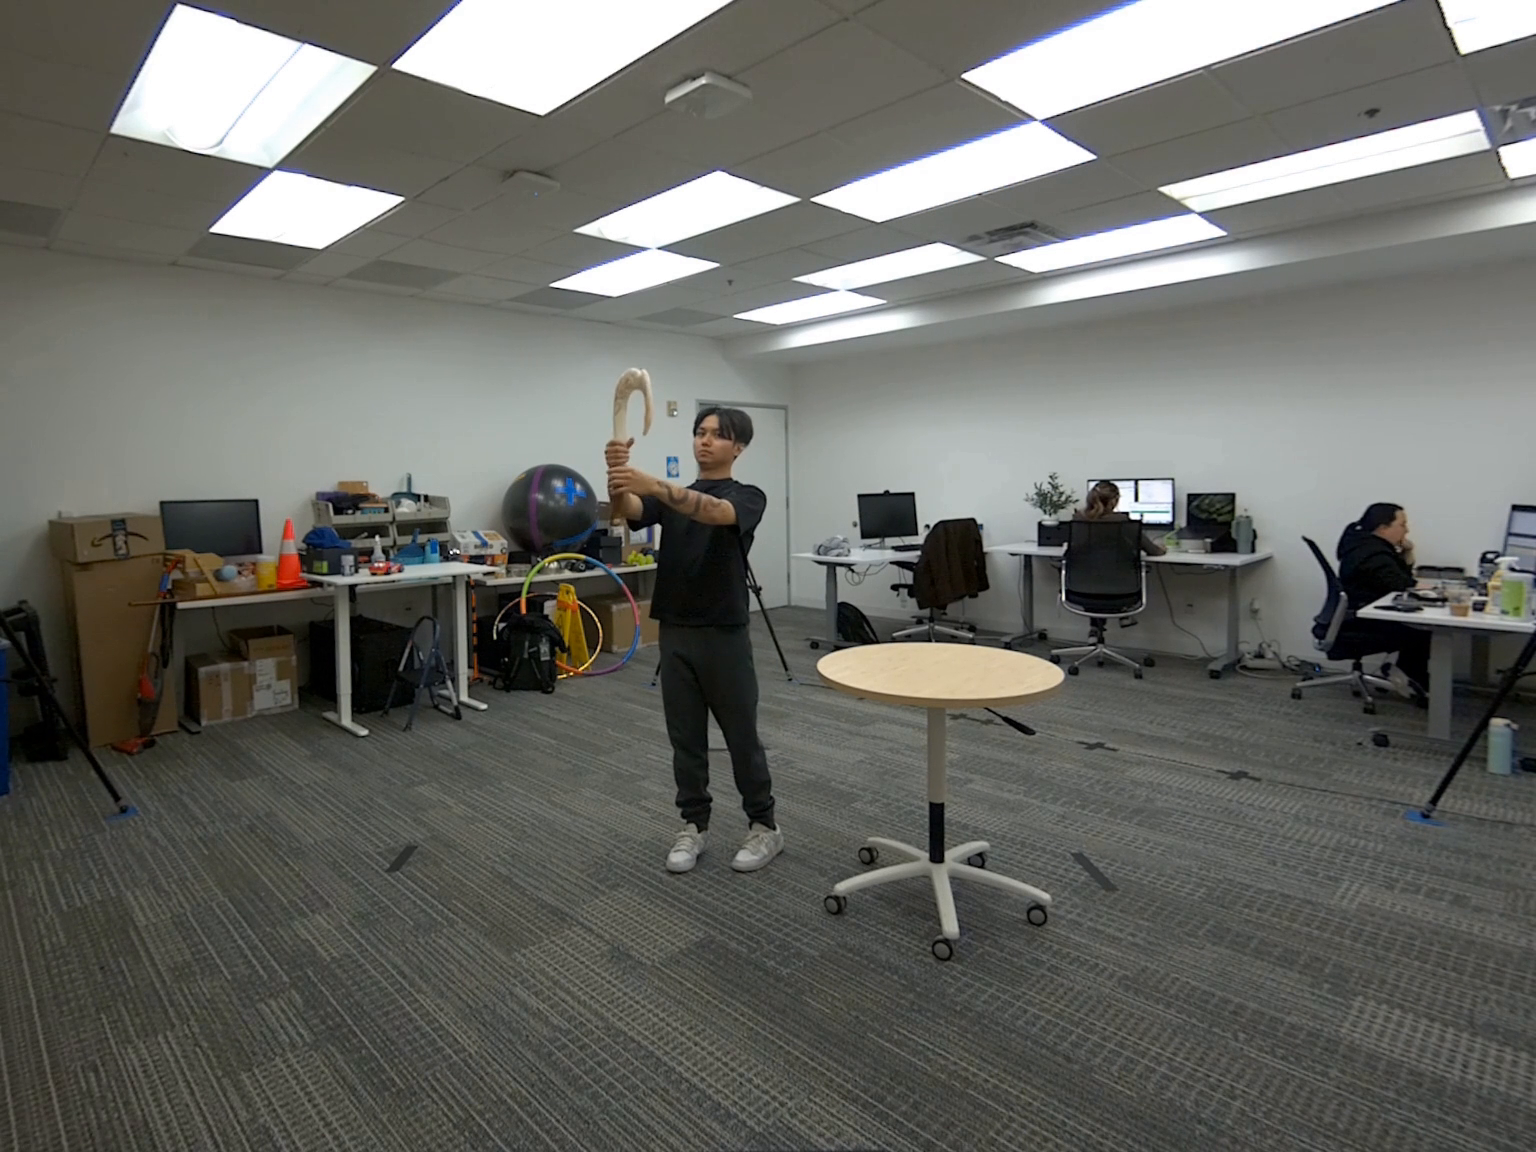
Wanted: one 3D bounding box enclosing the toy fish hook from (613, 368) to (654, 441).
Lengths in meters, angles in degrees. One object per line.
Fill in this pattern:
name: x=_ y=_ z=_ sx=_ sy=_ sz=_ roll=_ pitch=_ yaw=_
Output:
toy fish hook: x=-0.444 y=-0.393 z=2.676 sx=0.047 sy=0.502 sz=0.233 roll=1 pitch=14 yaw=-34
